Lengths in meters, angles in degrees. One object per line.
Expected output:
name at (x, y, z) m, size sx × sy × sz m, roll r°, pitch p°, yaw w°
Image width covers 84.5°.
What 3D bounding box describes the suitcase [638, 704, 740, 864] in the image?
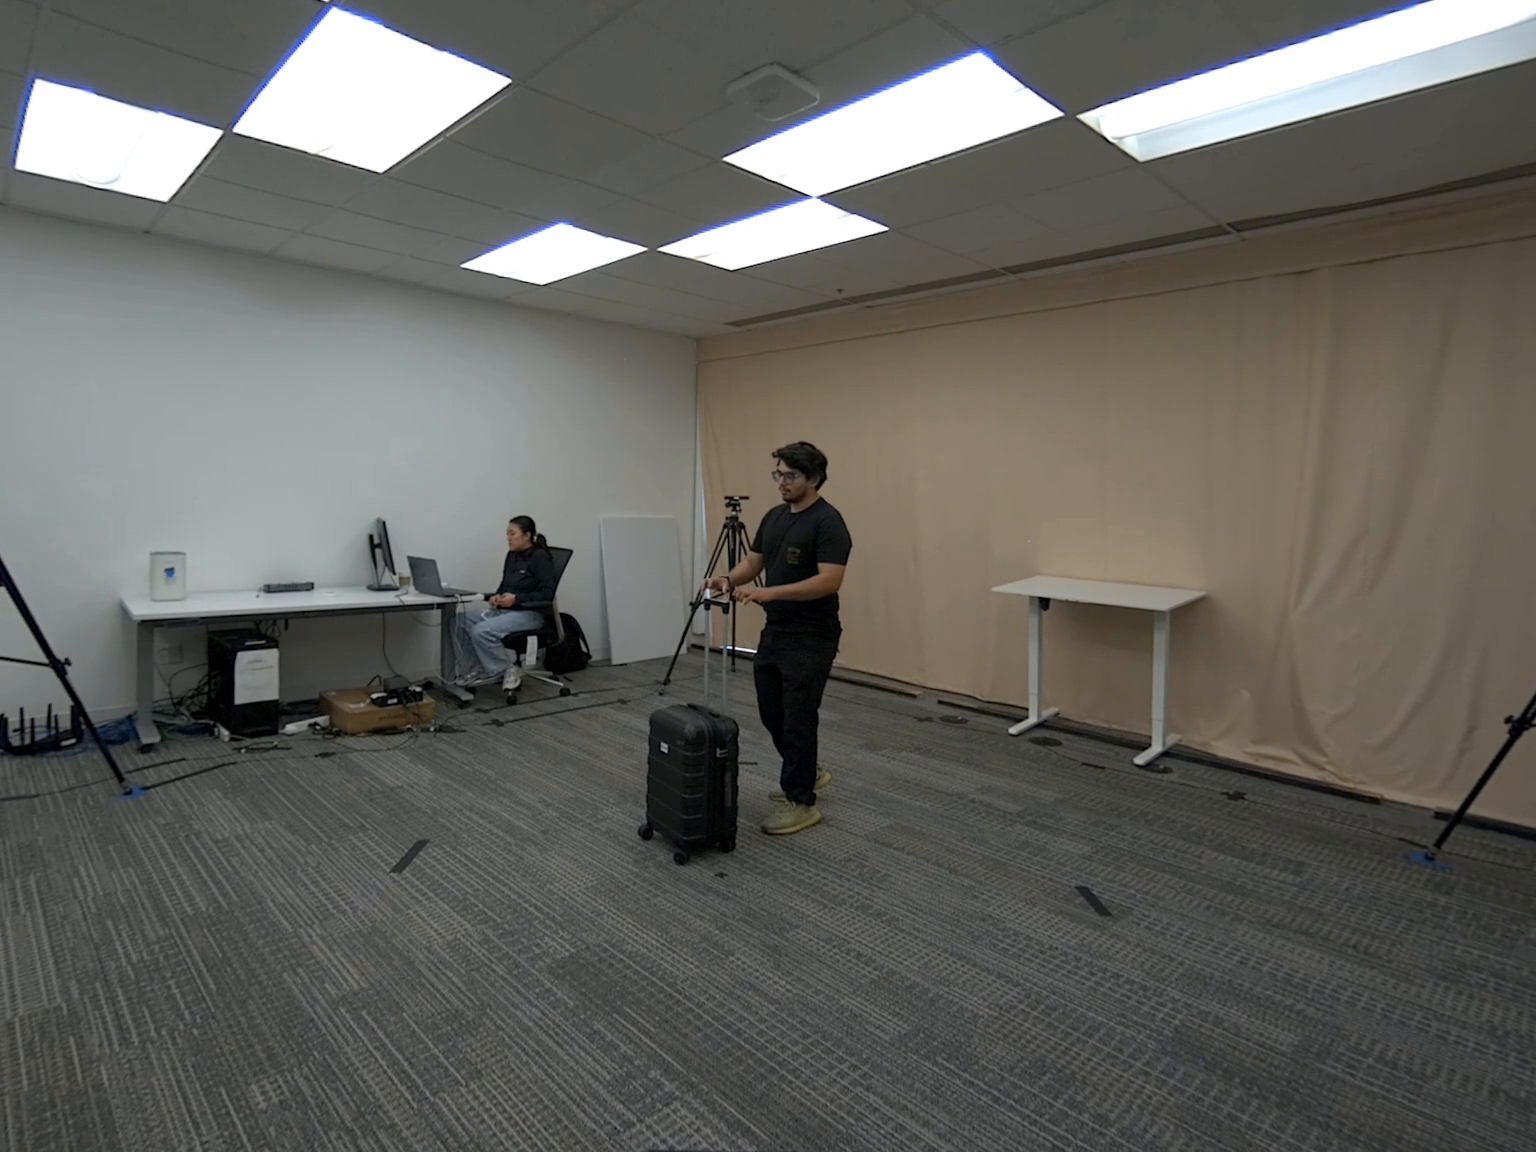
suitcase at (-0.313, 0.600, 3.341) m, size 0.251 × 0.976 × 0.393 m, roll -1°, pitch 3°, yaw -35°
